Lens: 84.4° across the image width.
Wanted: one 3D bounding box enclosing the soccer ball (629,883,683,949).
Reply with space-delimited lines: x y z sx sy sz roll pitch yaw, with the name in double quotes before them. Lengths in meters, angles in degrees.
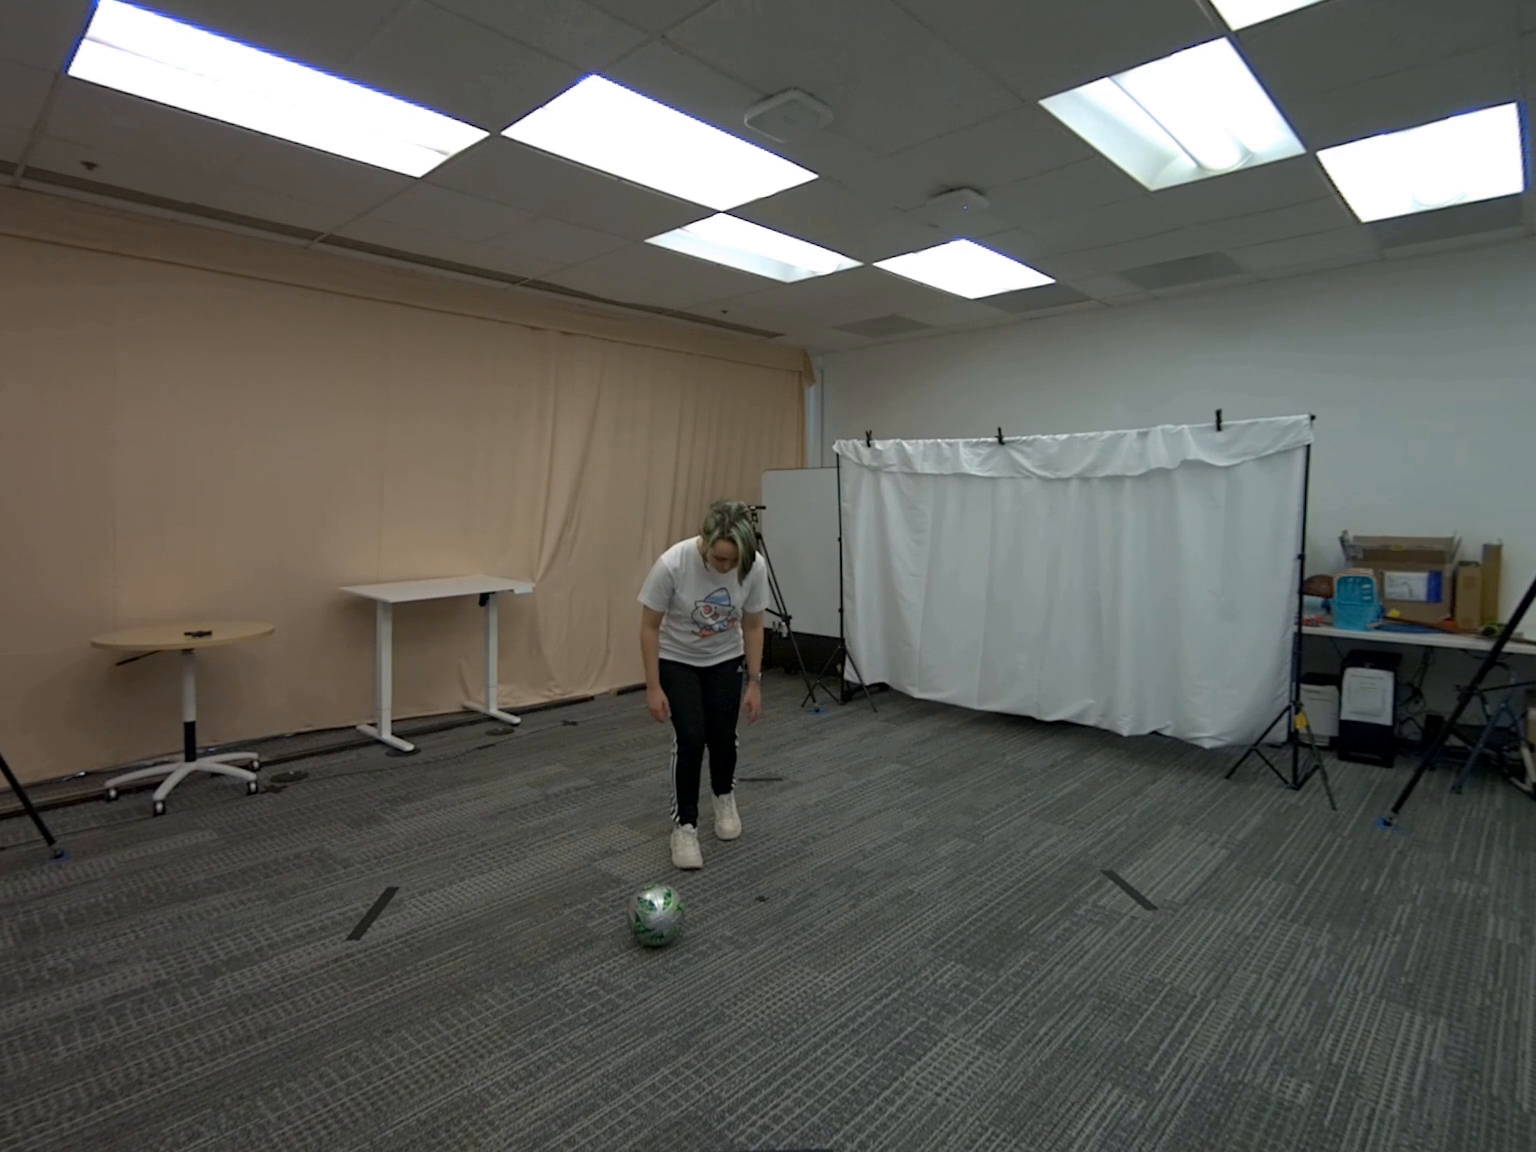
"soccer ball" -0.356 1.070 2.688 0.187 0.187 0.188 0 4 -2
